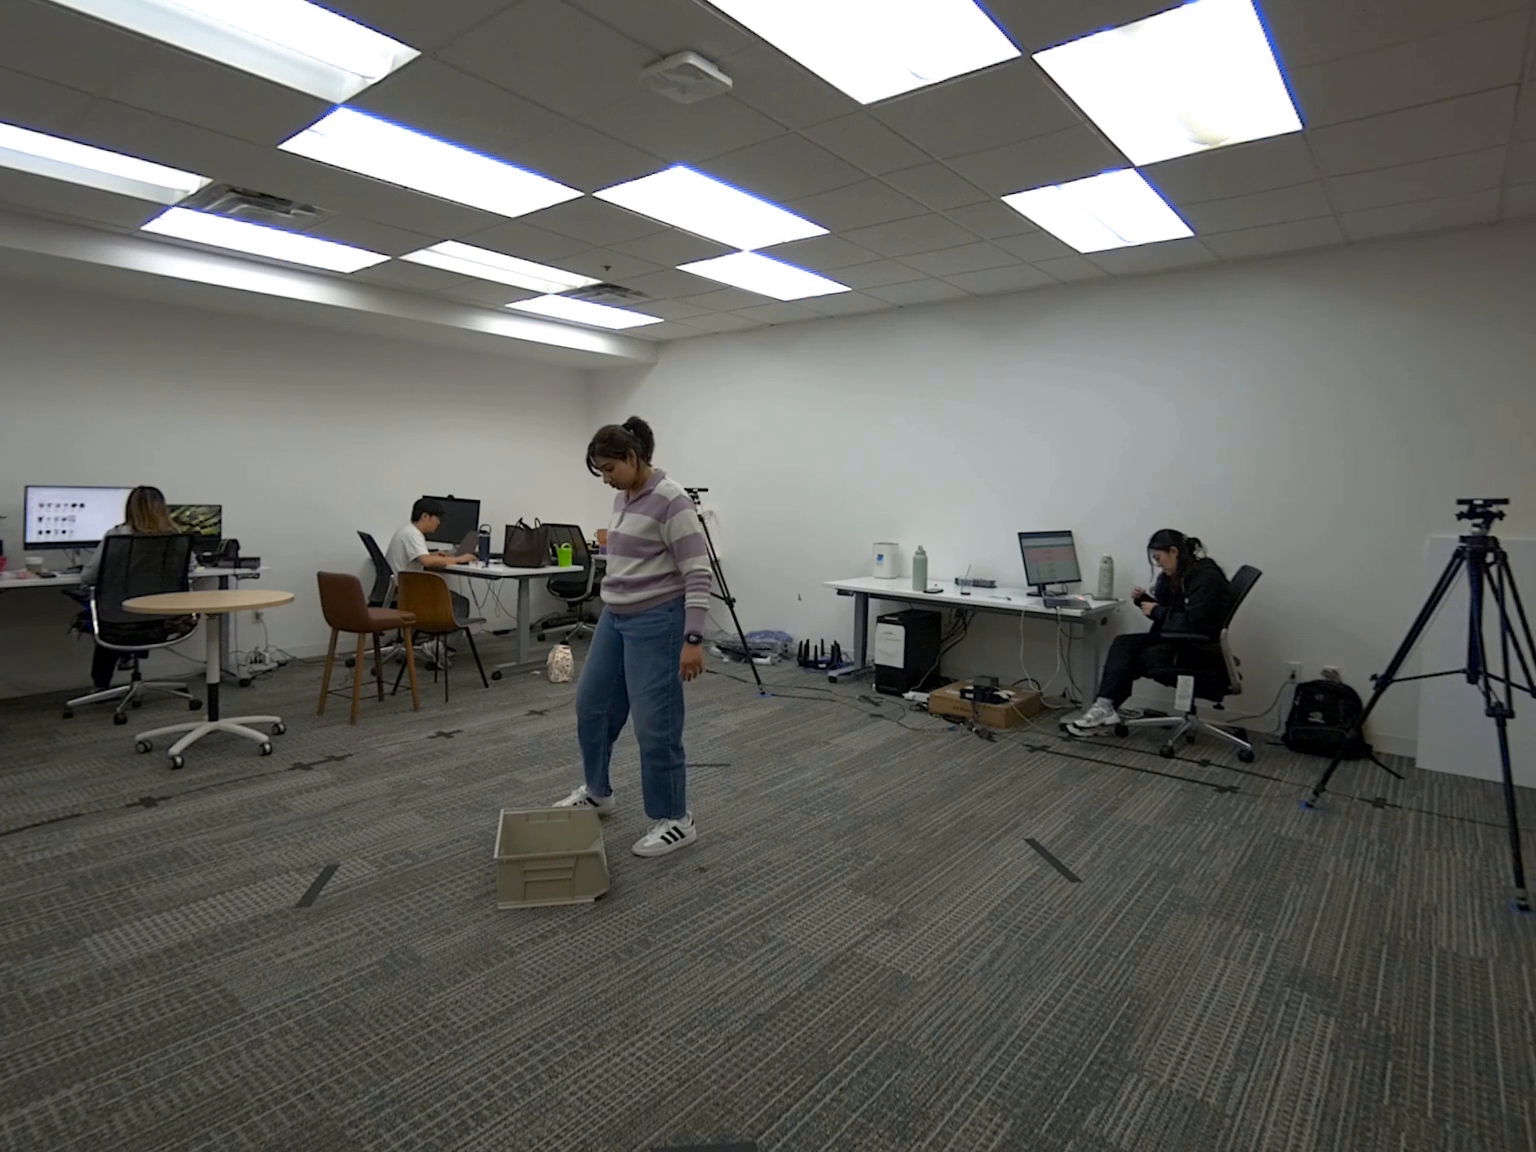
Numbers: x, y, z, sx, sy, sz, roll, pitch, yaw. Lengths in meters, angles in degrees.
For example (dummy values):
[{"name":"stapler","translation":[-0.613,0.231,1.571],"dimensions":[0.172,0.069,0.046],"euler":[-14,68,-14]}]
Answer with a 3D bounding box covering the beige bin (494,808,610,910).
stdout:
[{"name":"beige bin","translation":[-0.775,0.983,3.011],"dimensions":[0.372,0.188,0.430],"euler":[-1,5,-14]}]
